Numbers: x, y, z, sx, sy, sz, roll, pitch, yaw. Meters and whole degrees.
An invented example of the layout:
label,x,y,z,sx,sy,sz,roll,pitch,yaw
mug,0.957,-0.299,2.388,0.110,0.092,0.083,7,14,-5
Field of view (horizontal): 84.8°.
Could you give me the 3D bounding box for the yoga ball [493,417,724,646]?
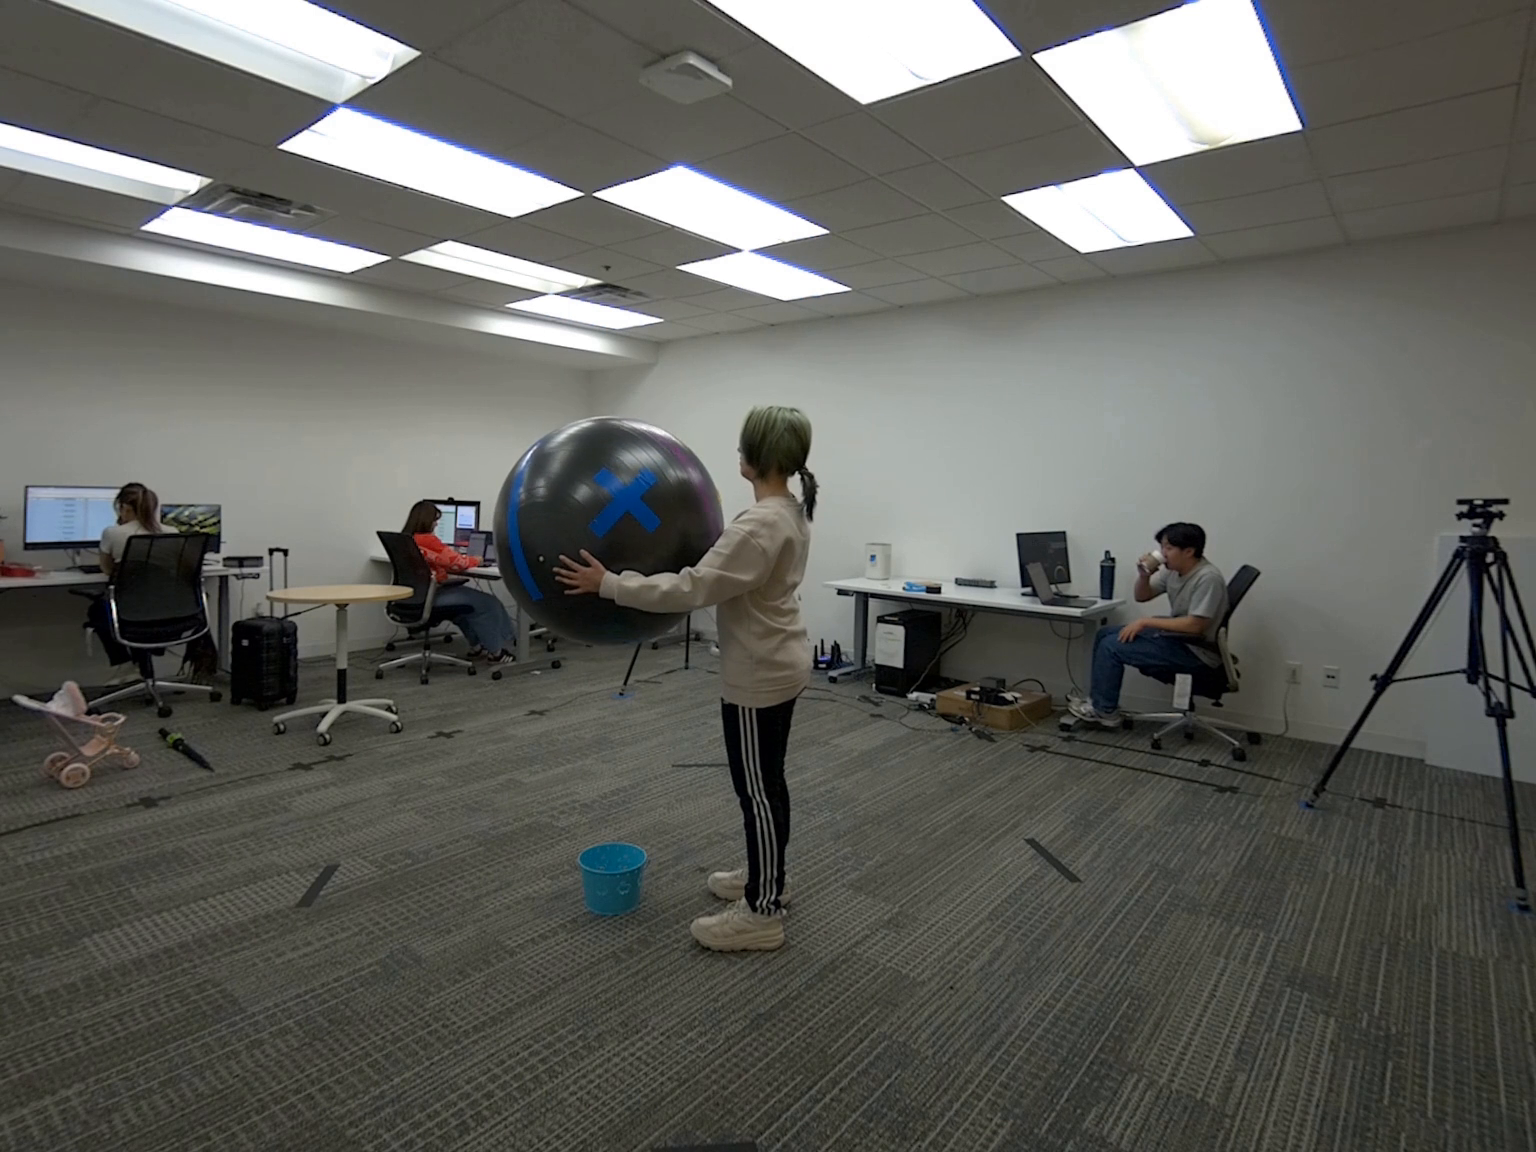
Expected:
label,x,y,z,sx,sy,sz,roll,pitch,yaw
yoga ball,-0.537,-0.140,2.808,0.757,0.756,0.761,1,4,-2
